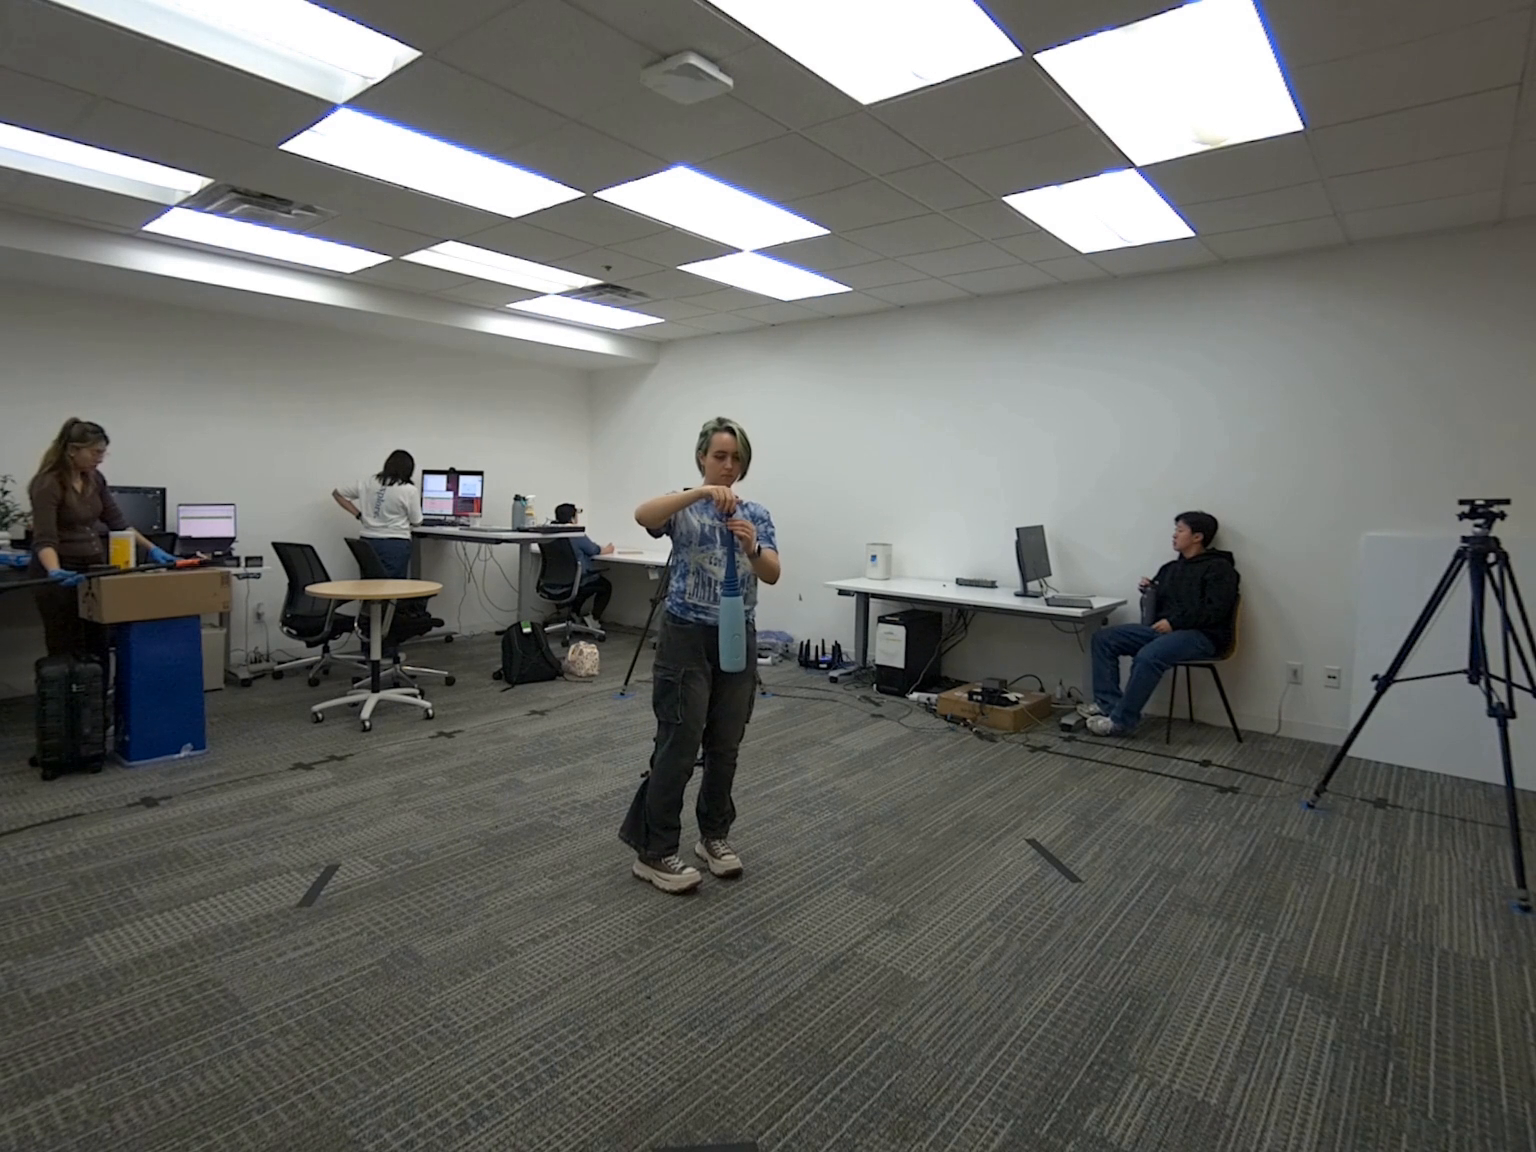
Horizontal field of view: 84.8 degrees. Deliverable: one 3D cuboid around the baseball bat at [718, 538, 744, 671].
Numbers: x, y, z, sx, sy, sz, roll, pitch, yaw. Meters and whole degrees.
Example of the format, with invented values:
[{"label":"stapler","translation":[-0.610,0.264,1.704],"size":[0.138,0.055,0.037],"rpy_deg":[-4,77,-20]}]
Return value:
[{"label":"baseball bat","translation":[-0.132,0.033,2.804],"size":[0.089,0.541,0.089],"rpy_deg":[-1,4,-2]}]
